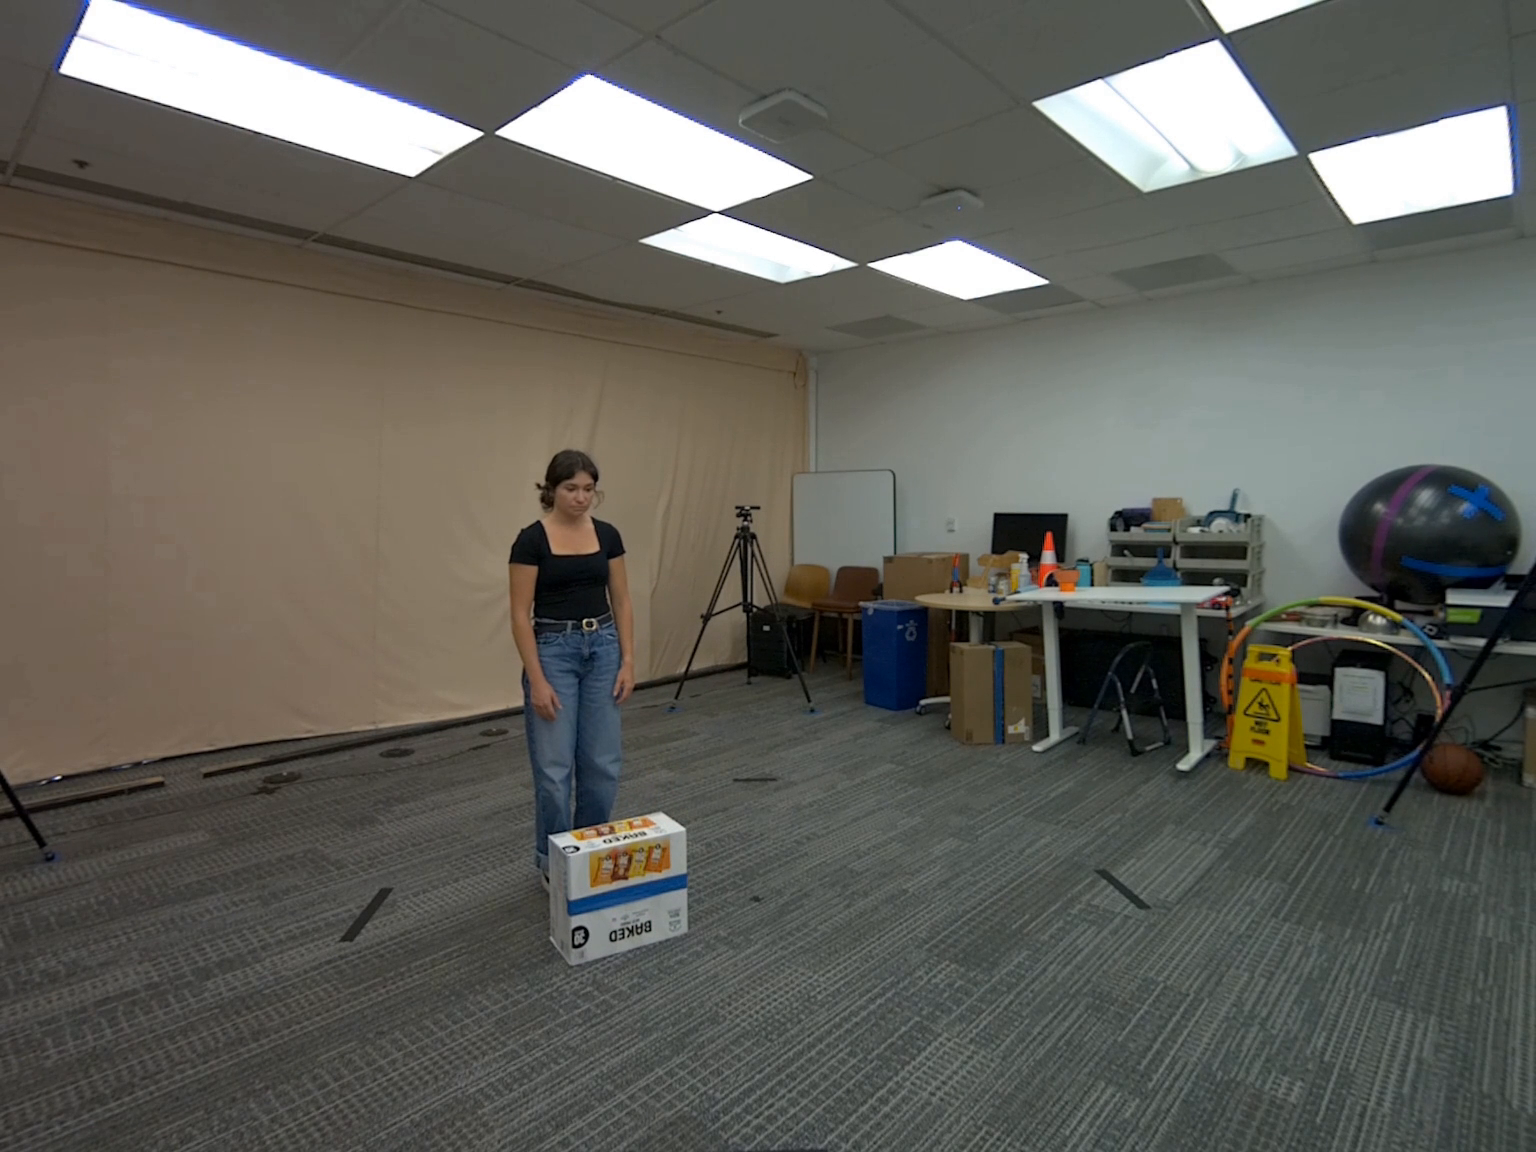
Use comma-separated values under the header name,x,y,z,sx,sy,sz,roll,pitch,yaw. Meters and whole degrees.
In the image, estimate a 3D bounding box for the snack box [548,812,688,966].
name,x,y,z,sx,sy,sz,roll,pitch,yaw
snack box,-0.481,1.002,2.724,0.394,0.340,0.211,-3,2,-31
